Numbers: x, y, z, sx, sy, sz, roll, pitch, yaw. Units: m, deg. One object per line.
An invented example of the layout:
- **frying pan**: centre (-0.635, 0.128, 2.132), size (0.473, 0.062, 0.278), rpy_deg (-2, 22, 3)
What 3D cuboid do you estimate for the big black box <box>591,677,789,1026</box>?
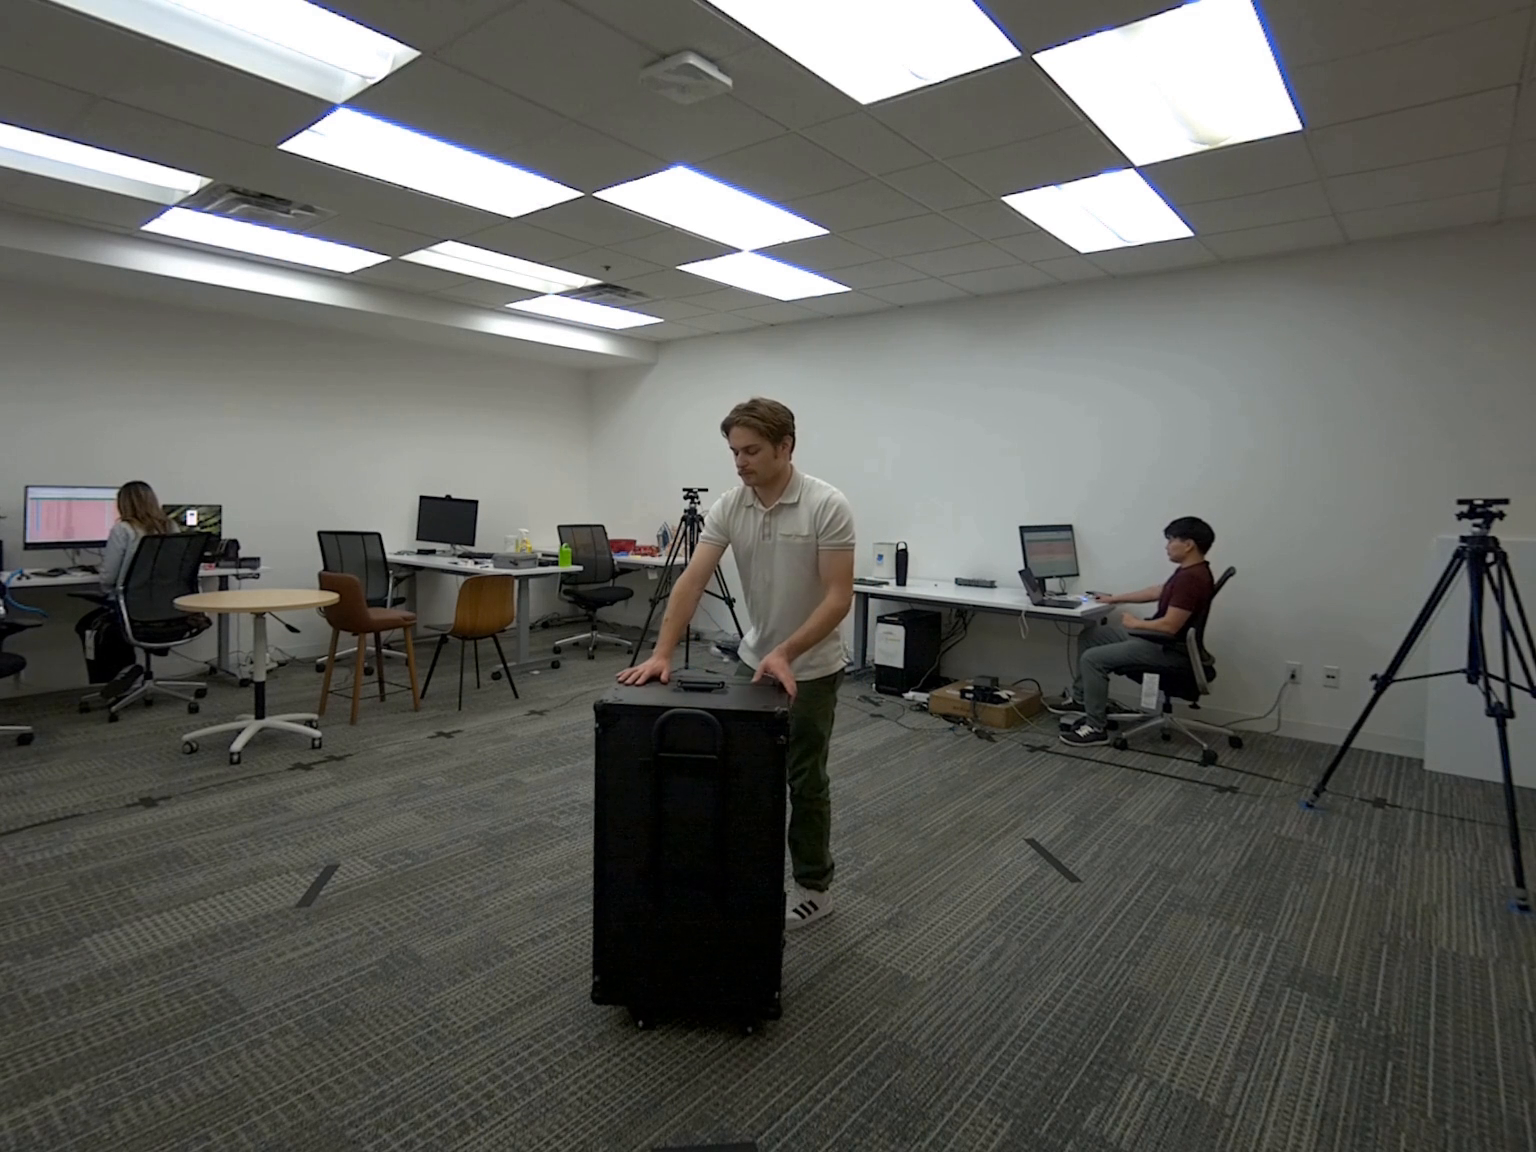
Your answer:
- **big black box**: centre (-0.200, 0.730, 2.283), size (0.527, 0.866, 0.384), rpy_deg (1, 3, 5)
